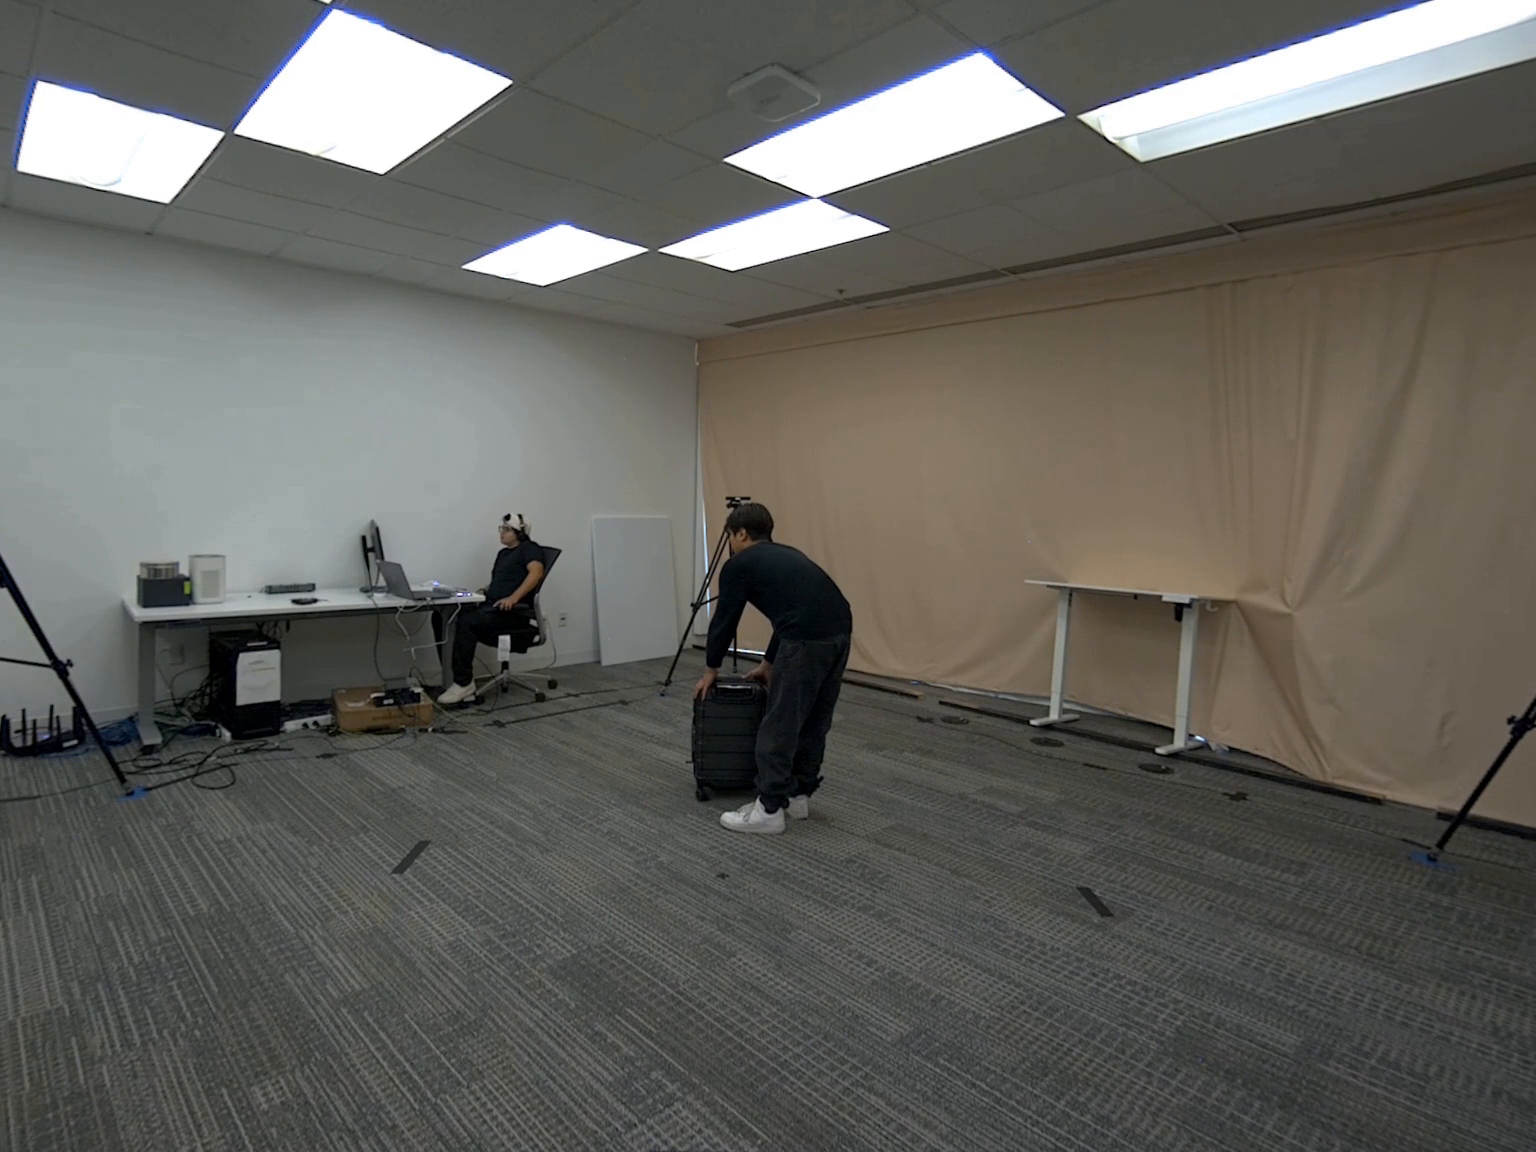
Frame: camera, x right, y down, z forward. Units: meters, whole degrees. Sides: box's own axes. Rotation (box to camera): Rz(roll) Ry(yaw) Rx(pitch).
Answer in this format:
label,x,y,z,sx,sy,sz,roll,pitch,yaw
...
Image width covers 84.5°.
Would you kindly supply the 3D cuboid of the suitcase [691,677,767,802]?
label,x,y,z,sx,sy,sz,roll,pitch,yaw
suitcase,-0.188,0.751,4.013,0.374,0.548,0.249,1,3,-3
